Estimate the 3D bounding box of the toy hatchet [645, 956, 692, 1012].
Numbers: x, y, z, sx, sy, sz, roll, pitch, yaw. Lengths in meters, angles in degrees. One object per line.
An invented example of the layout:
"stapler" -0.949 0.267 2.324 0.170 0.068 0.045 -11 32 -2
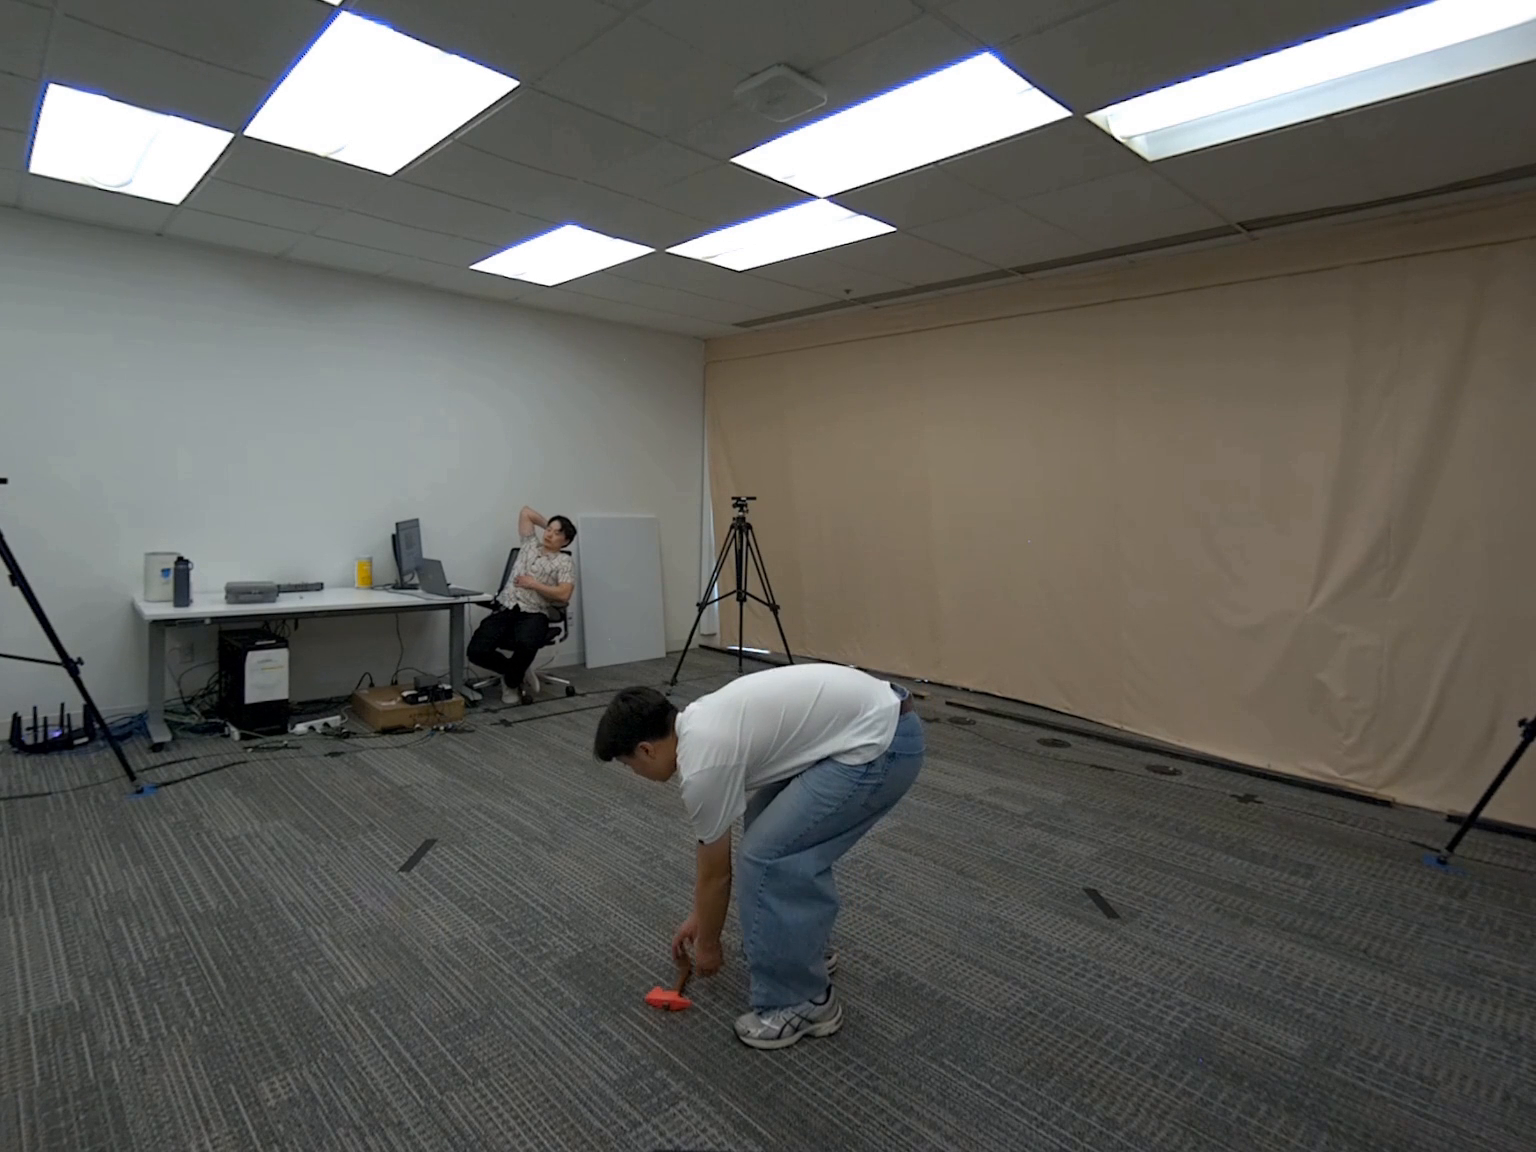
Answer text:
"toy hatchet" -0.289 1.155 2.403 0.130 0.029 0.271 -3 2 -5
